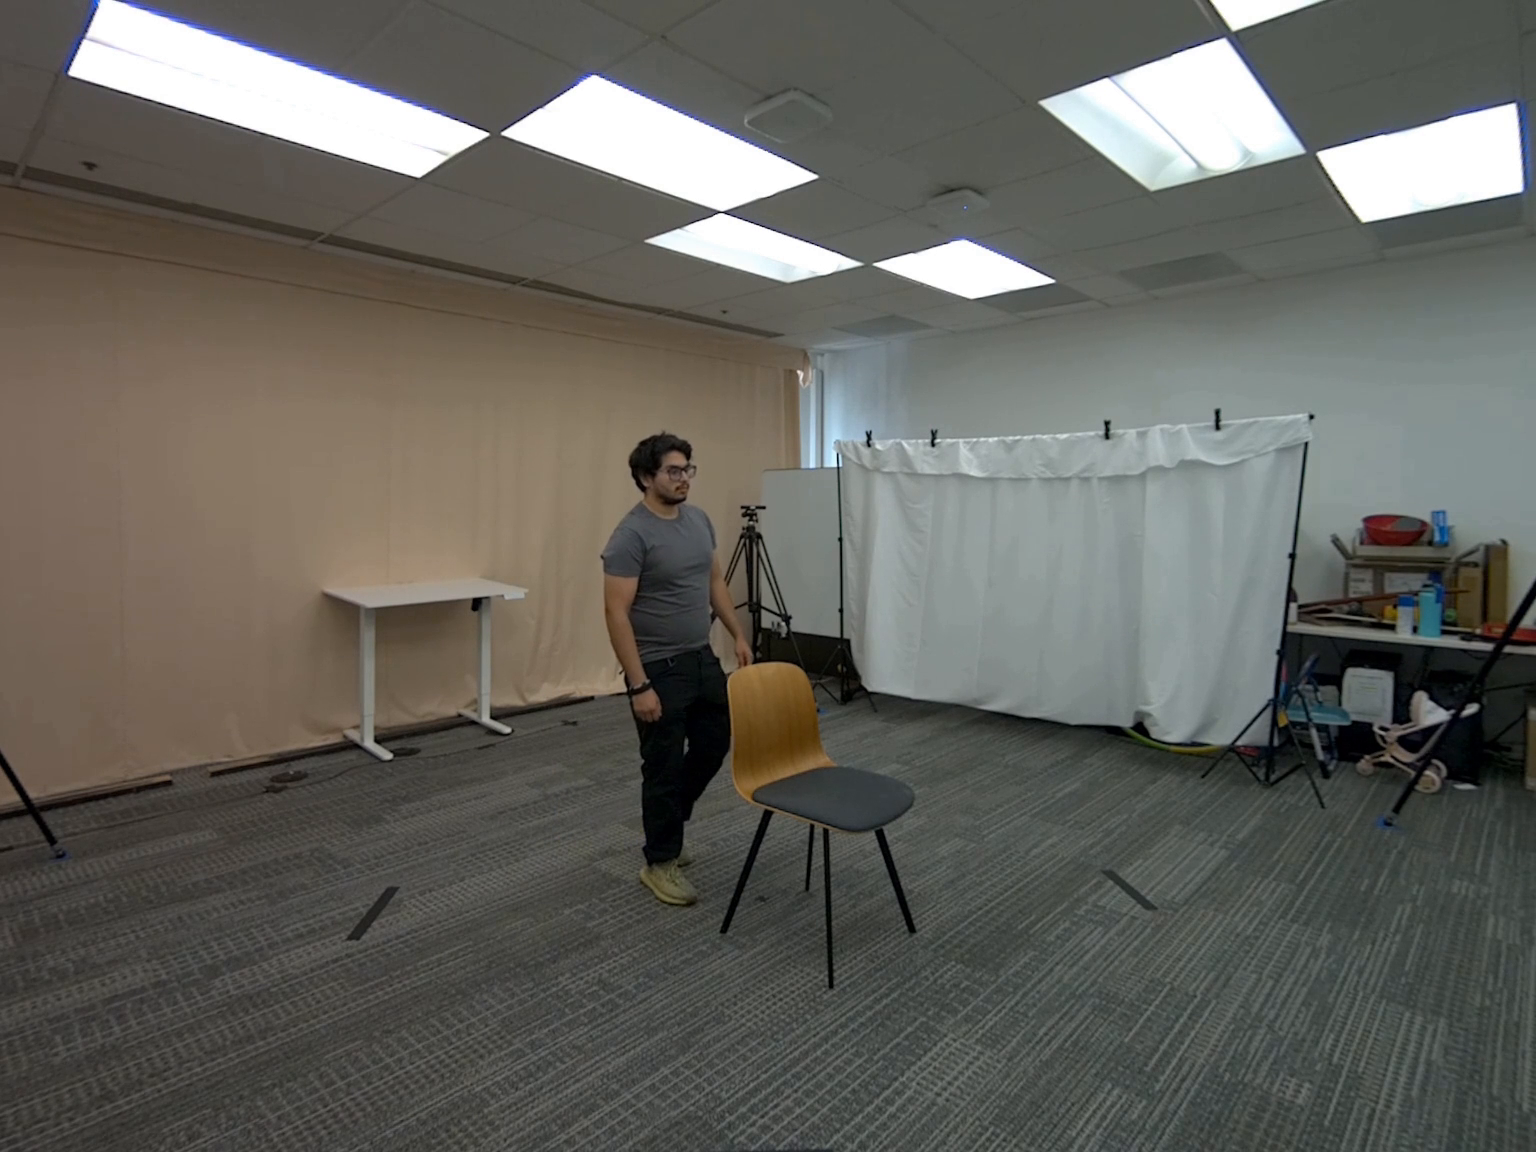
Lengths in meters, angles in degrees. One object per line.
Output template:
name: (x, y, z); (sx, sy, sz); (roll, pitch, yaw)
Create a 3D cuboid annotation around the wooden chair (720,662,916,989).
wooden chair: (0.176, 0.740, 2.704); (0.539, 0.877, 0.463); (-3, 1, 43)
